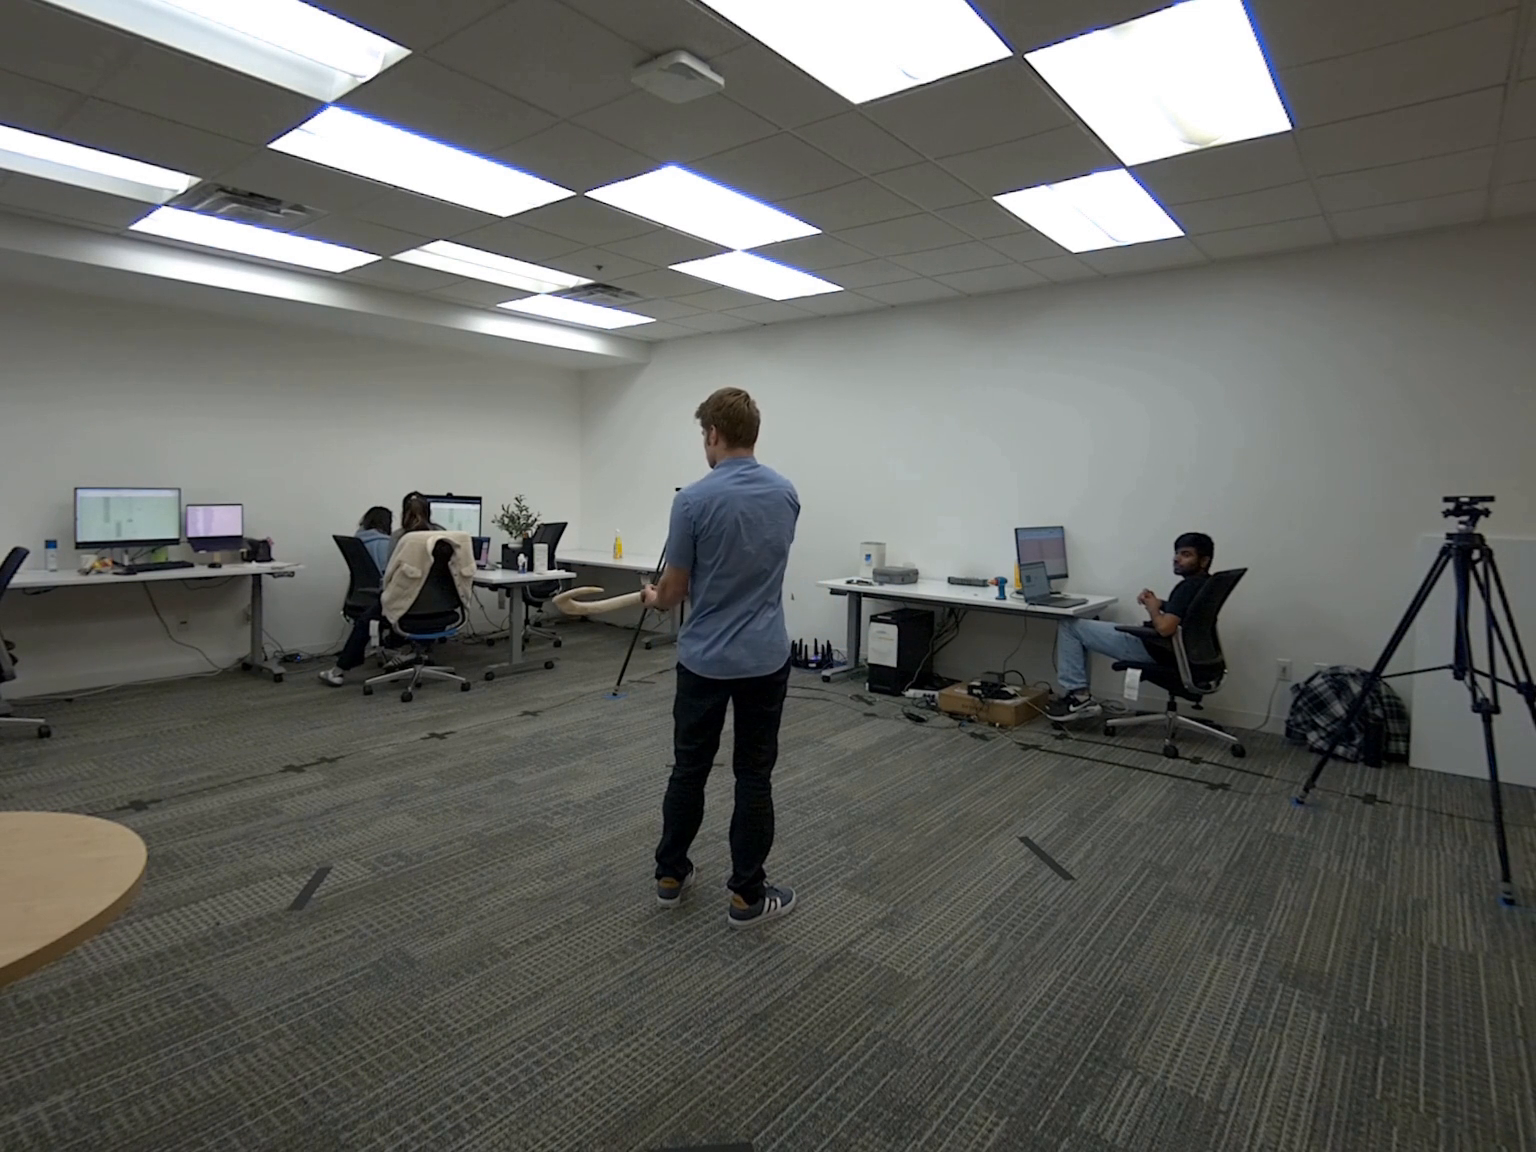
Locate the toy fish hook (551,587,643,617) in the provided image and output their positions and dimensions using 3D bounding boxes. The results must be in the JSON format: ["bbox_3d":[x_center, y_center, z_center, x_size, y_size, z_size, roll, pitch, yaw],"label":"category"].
[{"bbox_3d":[-0.512,0.069,3.049,0.508,0.049,0.219,-8,-17,3],"label":"toy fish hook"}]
